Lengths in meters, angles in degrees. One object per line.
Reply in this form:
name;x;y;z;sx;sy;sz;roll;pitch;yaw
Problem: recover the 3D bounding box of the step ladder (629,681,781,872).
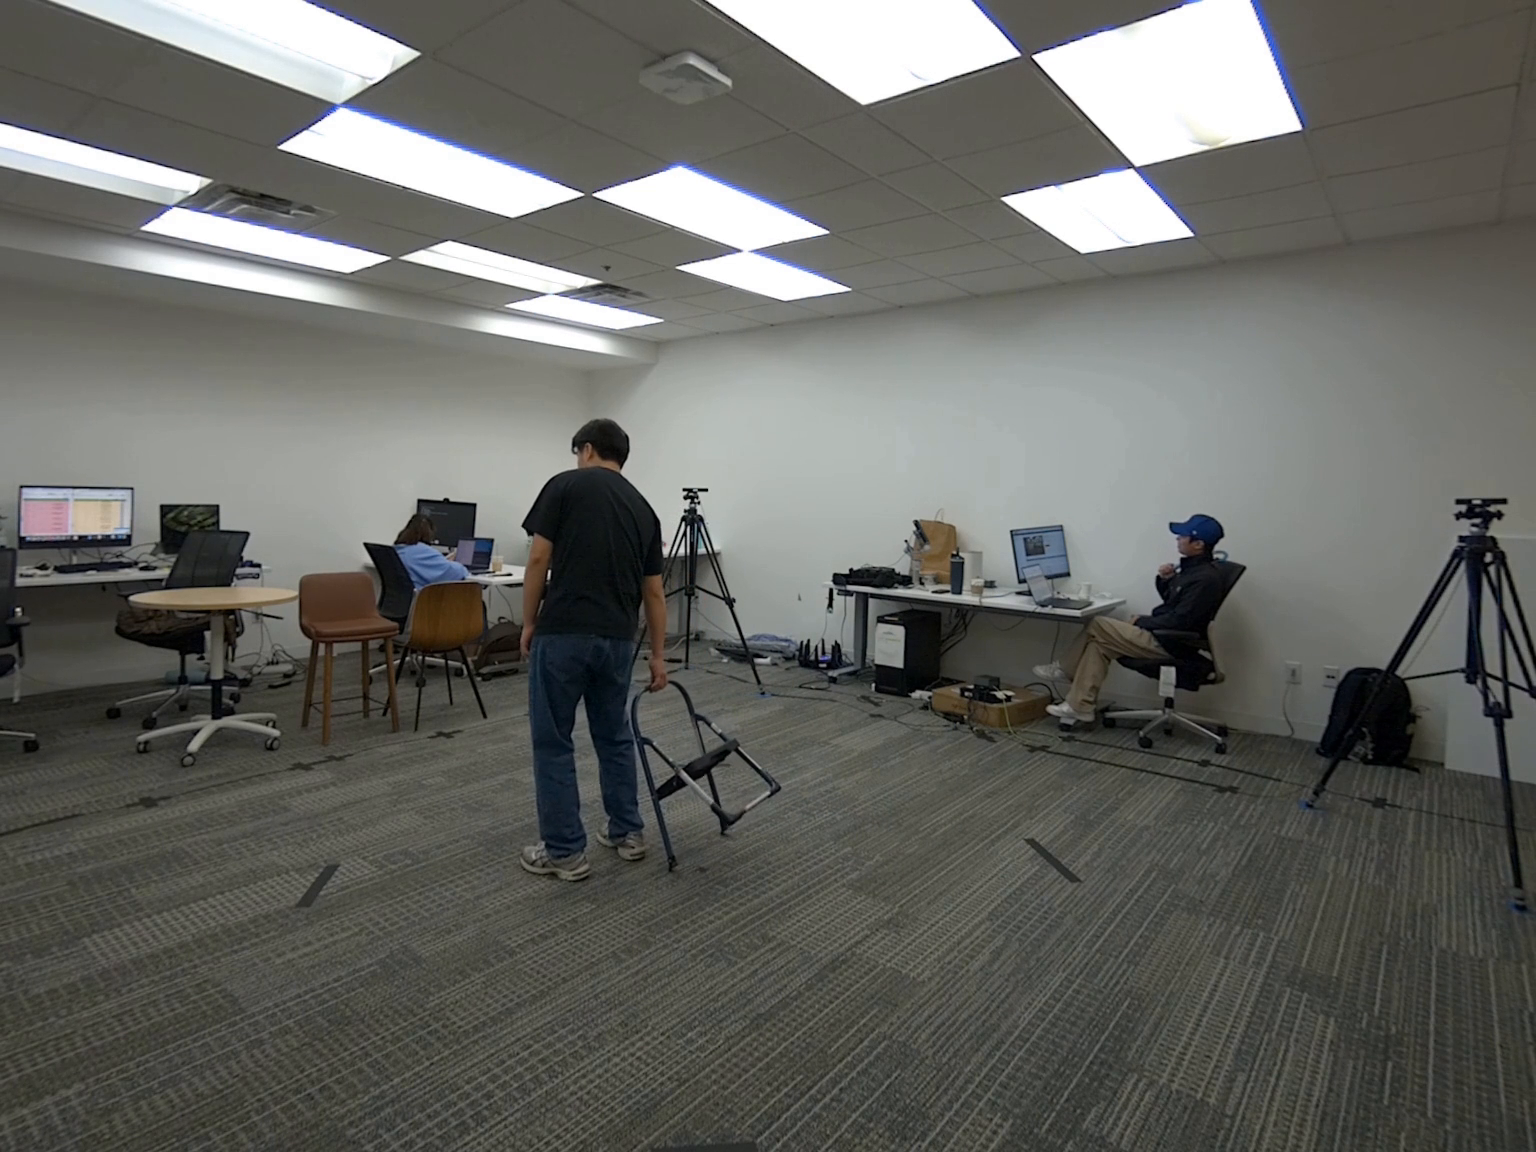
step ladder;-0.336;0.710;3.276;0.350;0.619;0.420;-42;-15;23
